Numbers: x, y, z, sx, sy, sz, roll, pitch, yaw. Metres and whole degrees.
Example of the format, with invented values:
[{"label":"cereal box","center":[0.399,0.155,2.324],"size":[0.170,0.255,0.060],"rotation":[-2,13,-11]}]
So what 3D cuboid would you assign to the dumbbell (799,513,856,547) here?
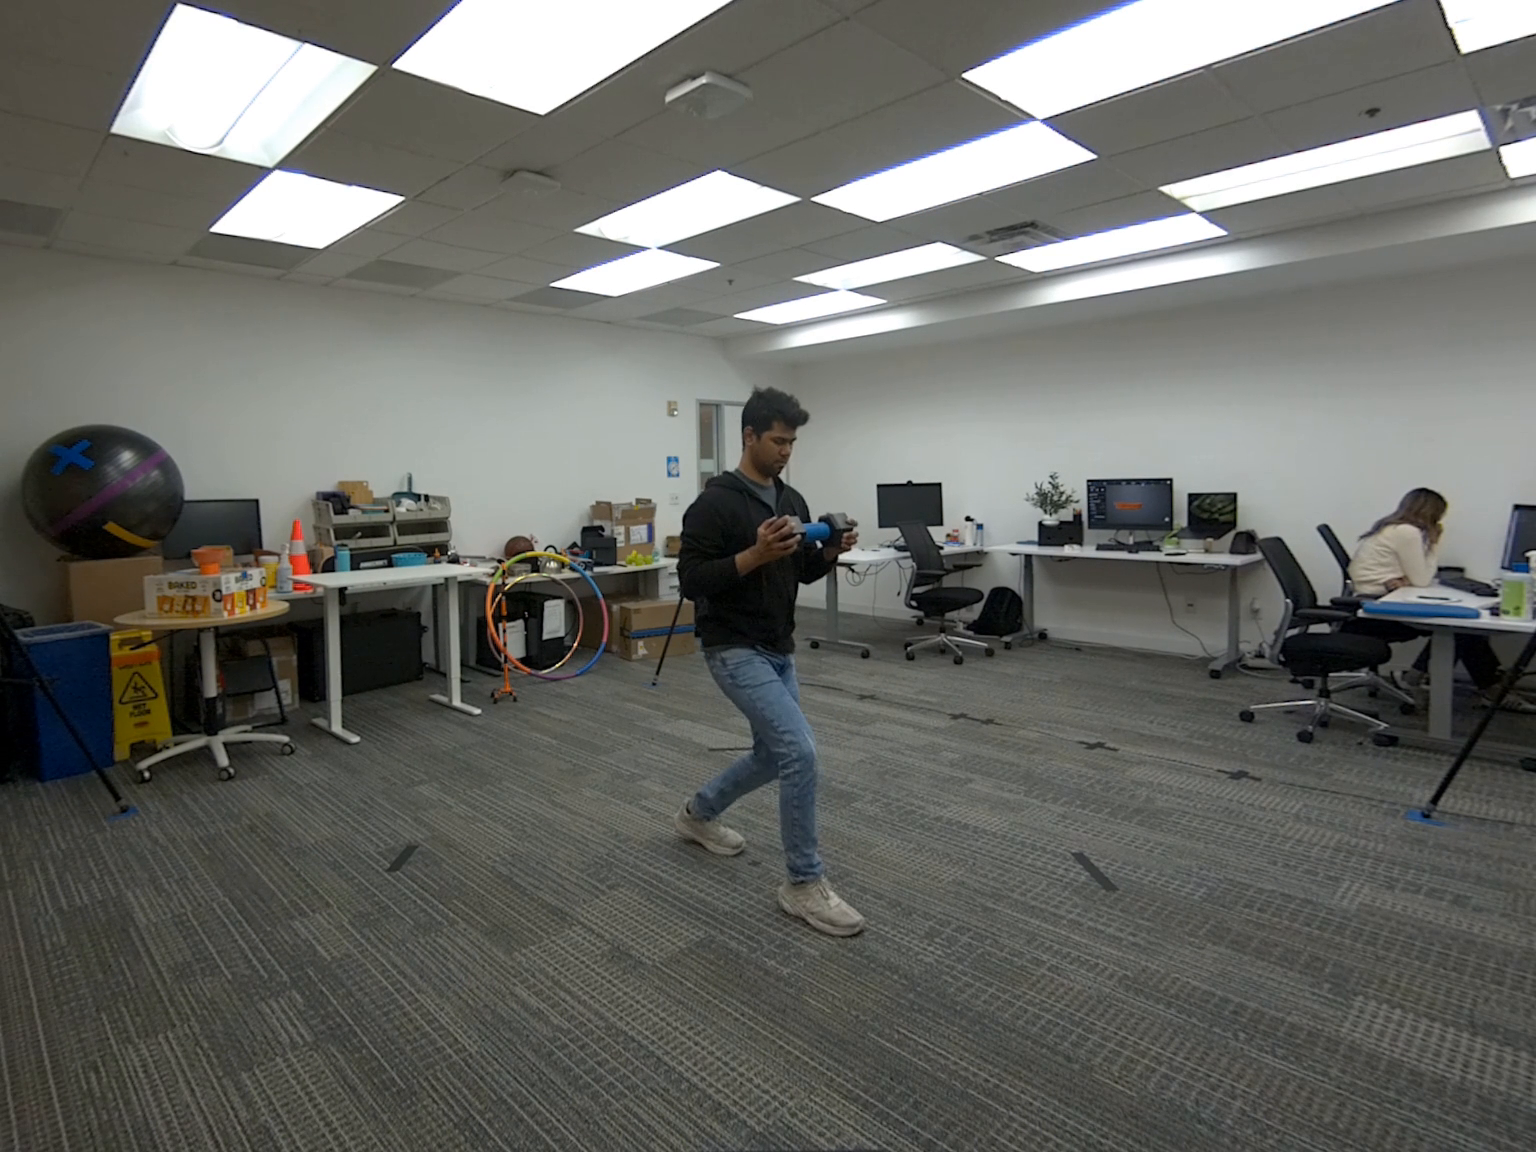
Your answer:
[{"label":"dumbbell","center":[0.123,-0.130,2.766],"size":[0.286,0.121,0.113],"rotation":[-7,30,-37]}]
